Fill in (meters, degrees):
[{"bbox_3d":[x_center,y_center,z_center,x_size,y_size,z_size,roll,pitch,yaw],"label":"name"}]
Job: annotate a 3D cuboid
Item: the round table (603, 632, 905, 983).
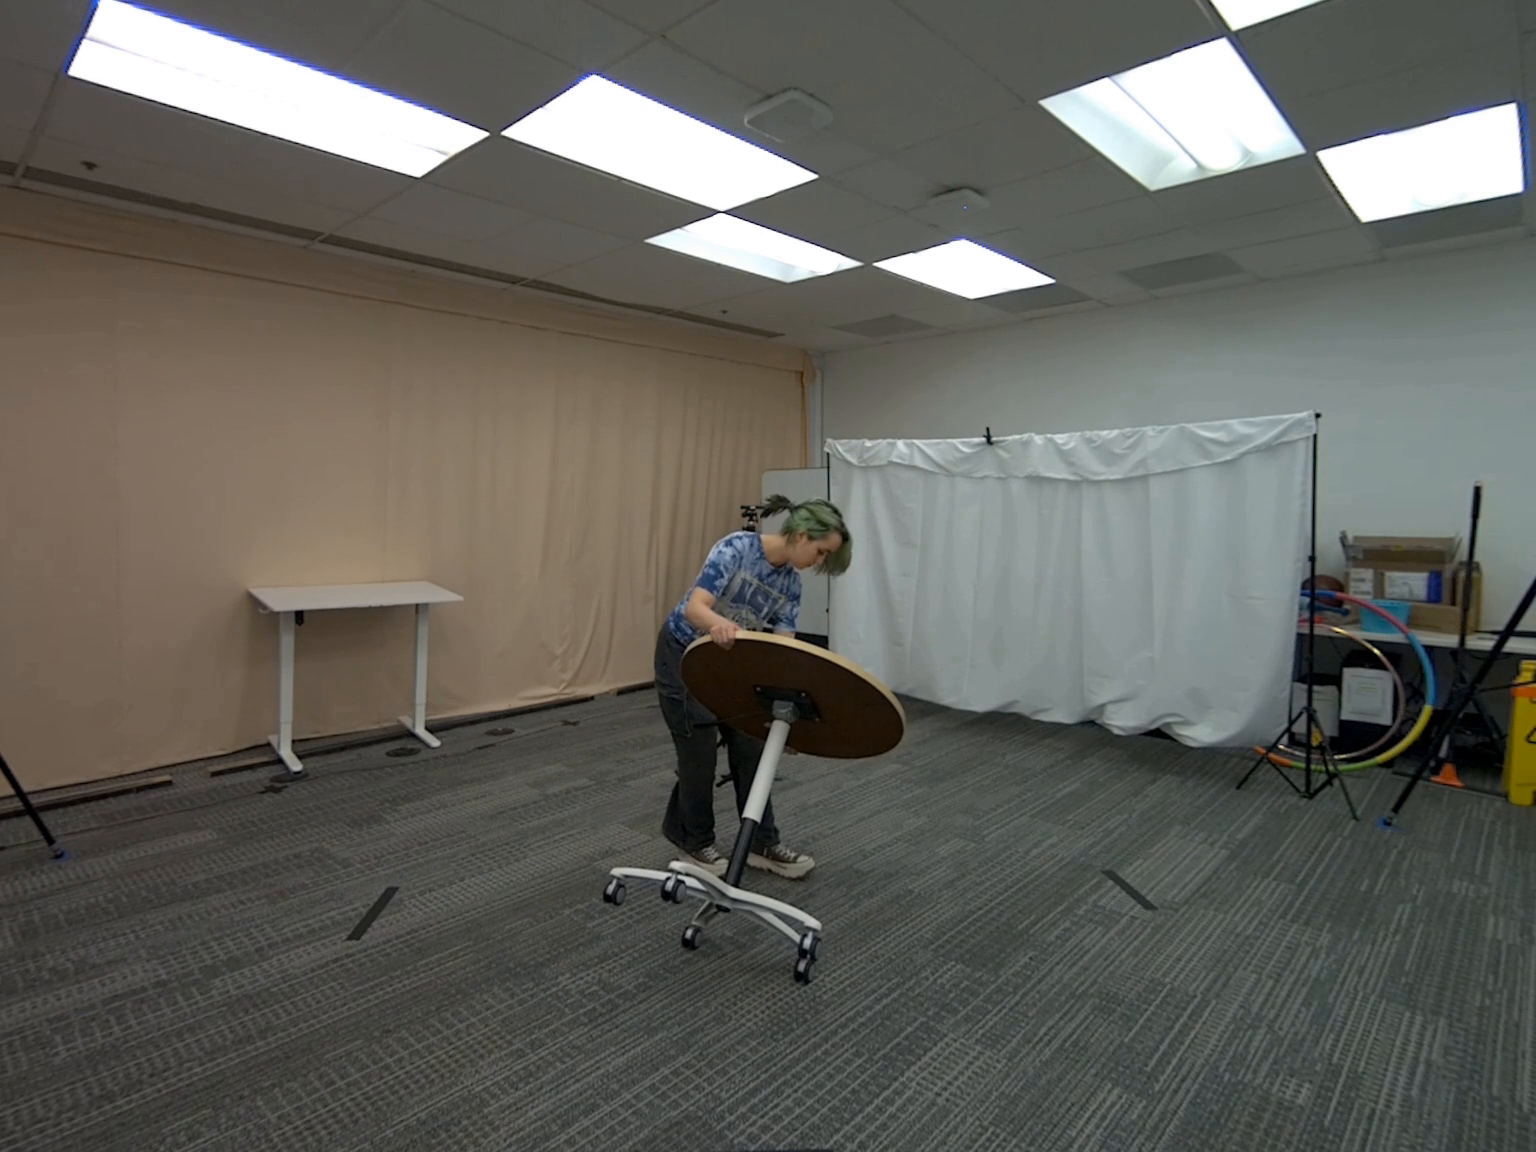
[{"bbox_3d":[-0.036,0.716,2.592,0.773,0.798,0.751,16,-32,8],"label":"round table"}]
